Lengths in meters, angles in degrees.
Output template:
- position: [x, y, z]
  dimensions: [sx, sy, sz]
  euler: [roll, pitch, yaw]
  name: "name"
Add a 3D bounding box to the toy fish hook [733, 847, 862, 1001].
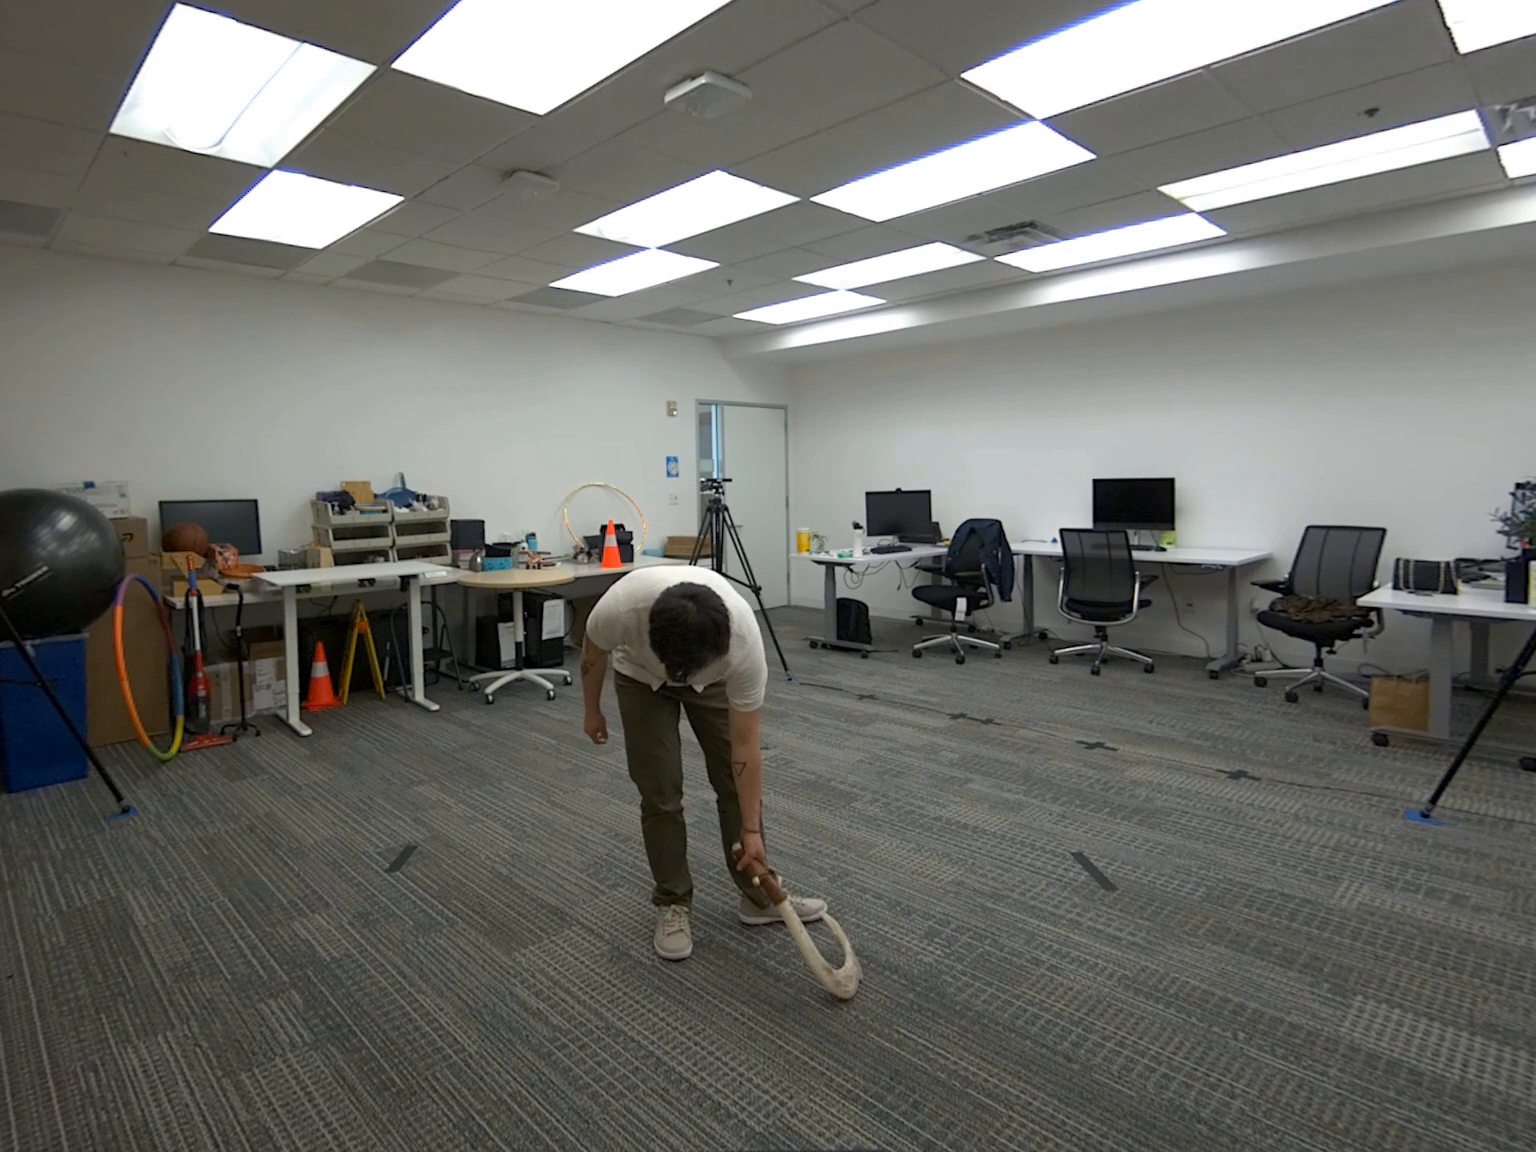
- position: [0.089, 0.926, 2.388]
  dimensions: [0.048, 0.512, 0.222]
  euler: [-41, -8, 16]
  name: "toy fish hook"
